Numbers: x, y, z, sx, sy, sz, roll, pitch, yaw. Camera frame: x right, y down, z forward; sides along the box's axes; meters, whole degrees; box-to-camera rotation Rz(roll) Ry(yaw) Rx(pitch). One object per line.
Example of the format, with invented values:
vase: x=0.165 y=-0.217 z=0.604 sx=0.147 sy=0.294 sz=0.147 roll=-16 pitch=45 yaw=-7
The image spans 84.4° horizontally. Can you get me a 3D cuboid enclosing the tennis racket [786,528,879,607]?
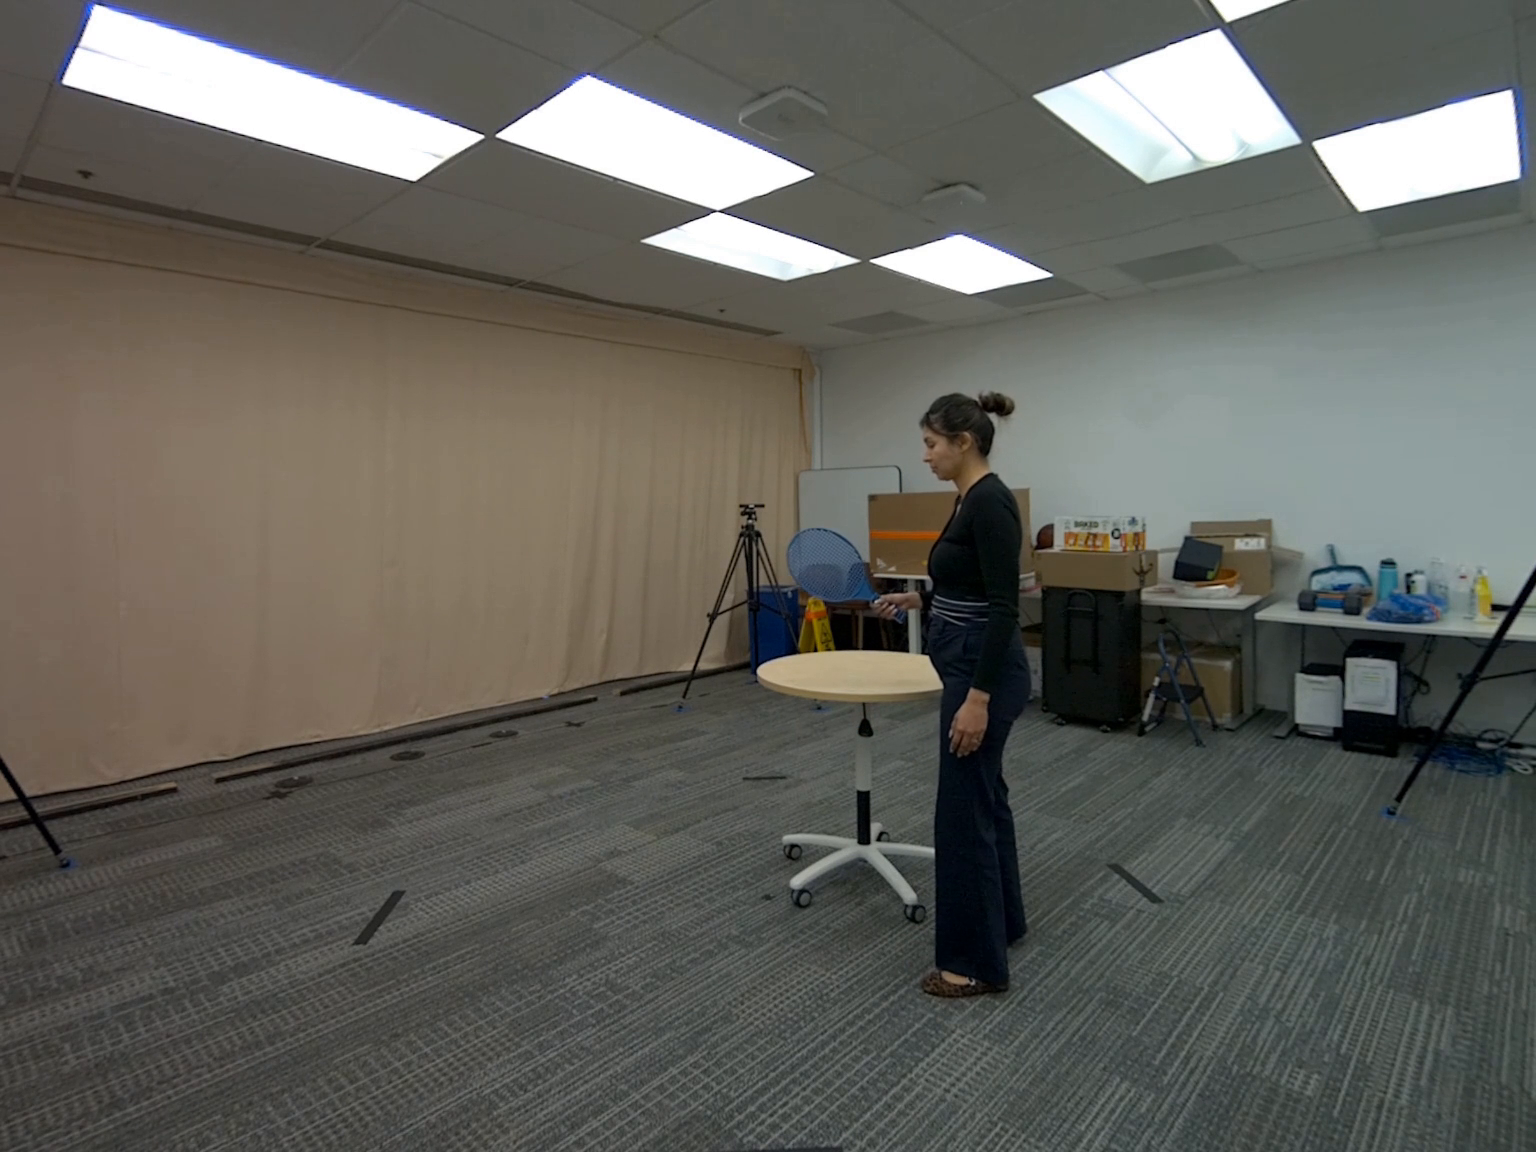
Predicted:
tennis racket: x=0.264 y=0.007 z=2.640 sx=0.432 sy=0.214 sz=0.032 roll=31 pitch=-8 yaw=-1
